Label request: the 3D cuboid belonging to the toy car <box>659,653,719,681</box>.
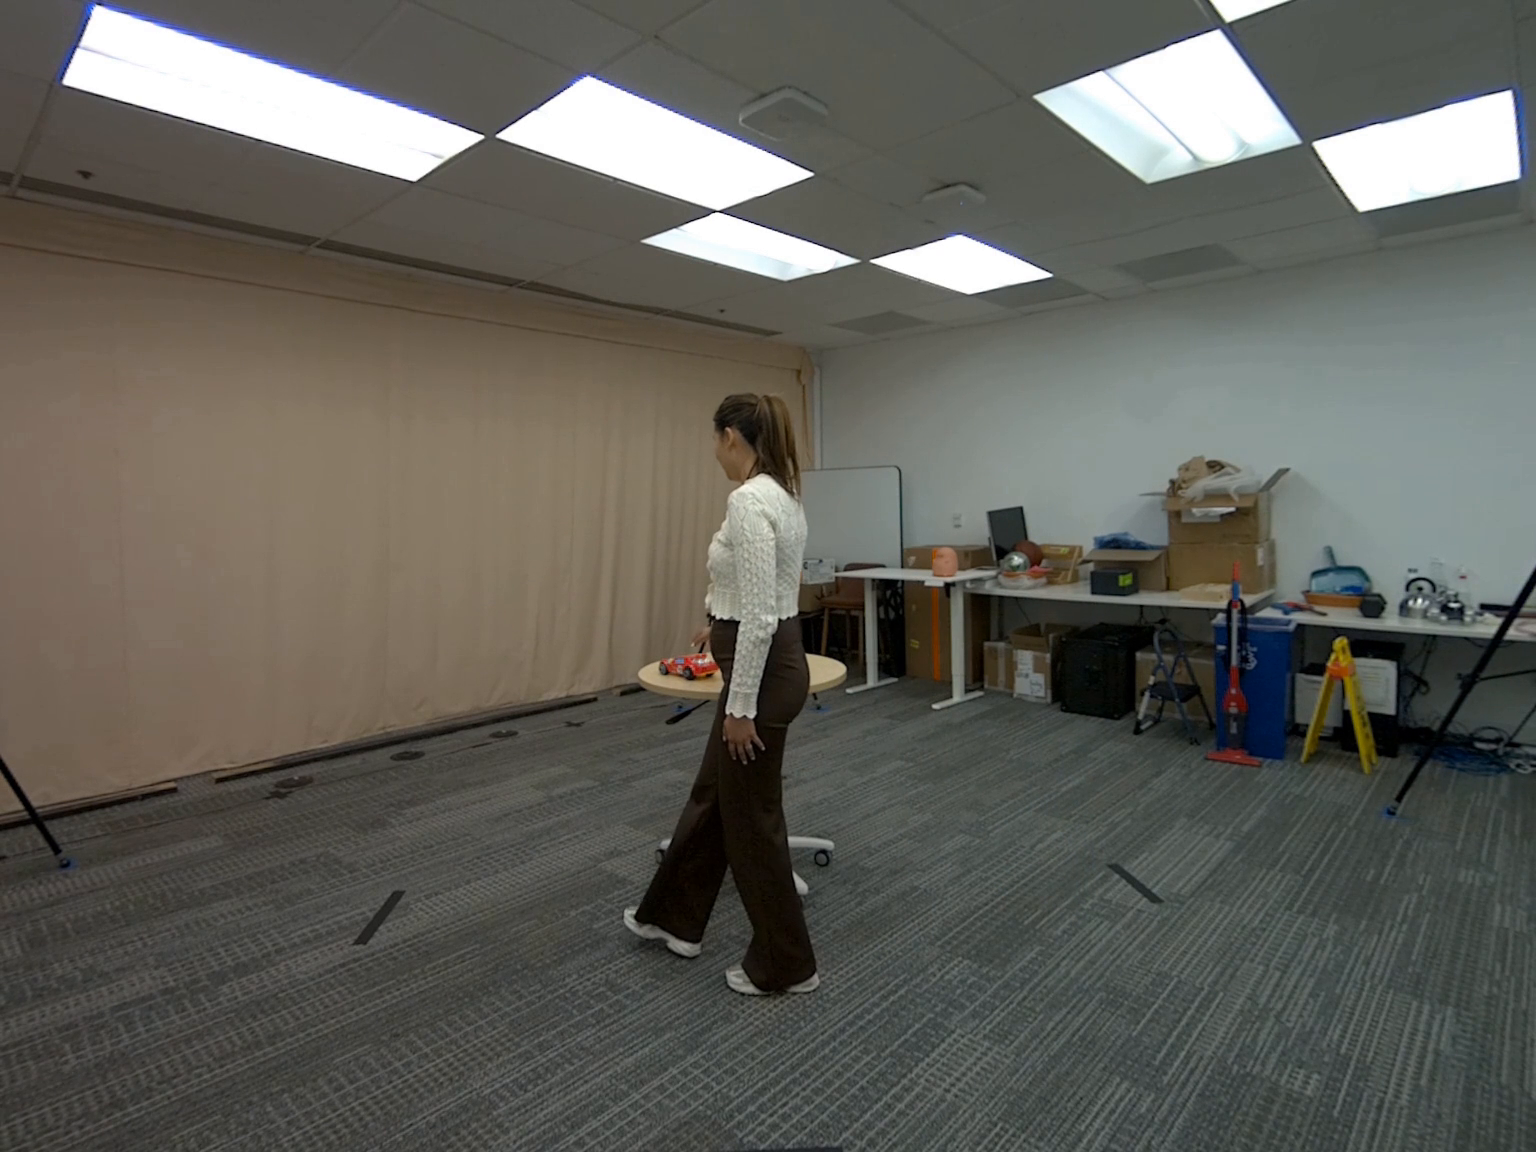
[{"bbox_3d":[-0.277,0.330,3.009,0.126,0.083,0.261,-6,-5,-43],"label":"toy car"}]
